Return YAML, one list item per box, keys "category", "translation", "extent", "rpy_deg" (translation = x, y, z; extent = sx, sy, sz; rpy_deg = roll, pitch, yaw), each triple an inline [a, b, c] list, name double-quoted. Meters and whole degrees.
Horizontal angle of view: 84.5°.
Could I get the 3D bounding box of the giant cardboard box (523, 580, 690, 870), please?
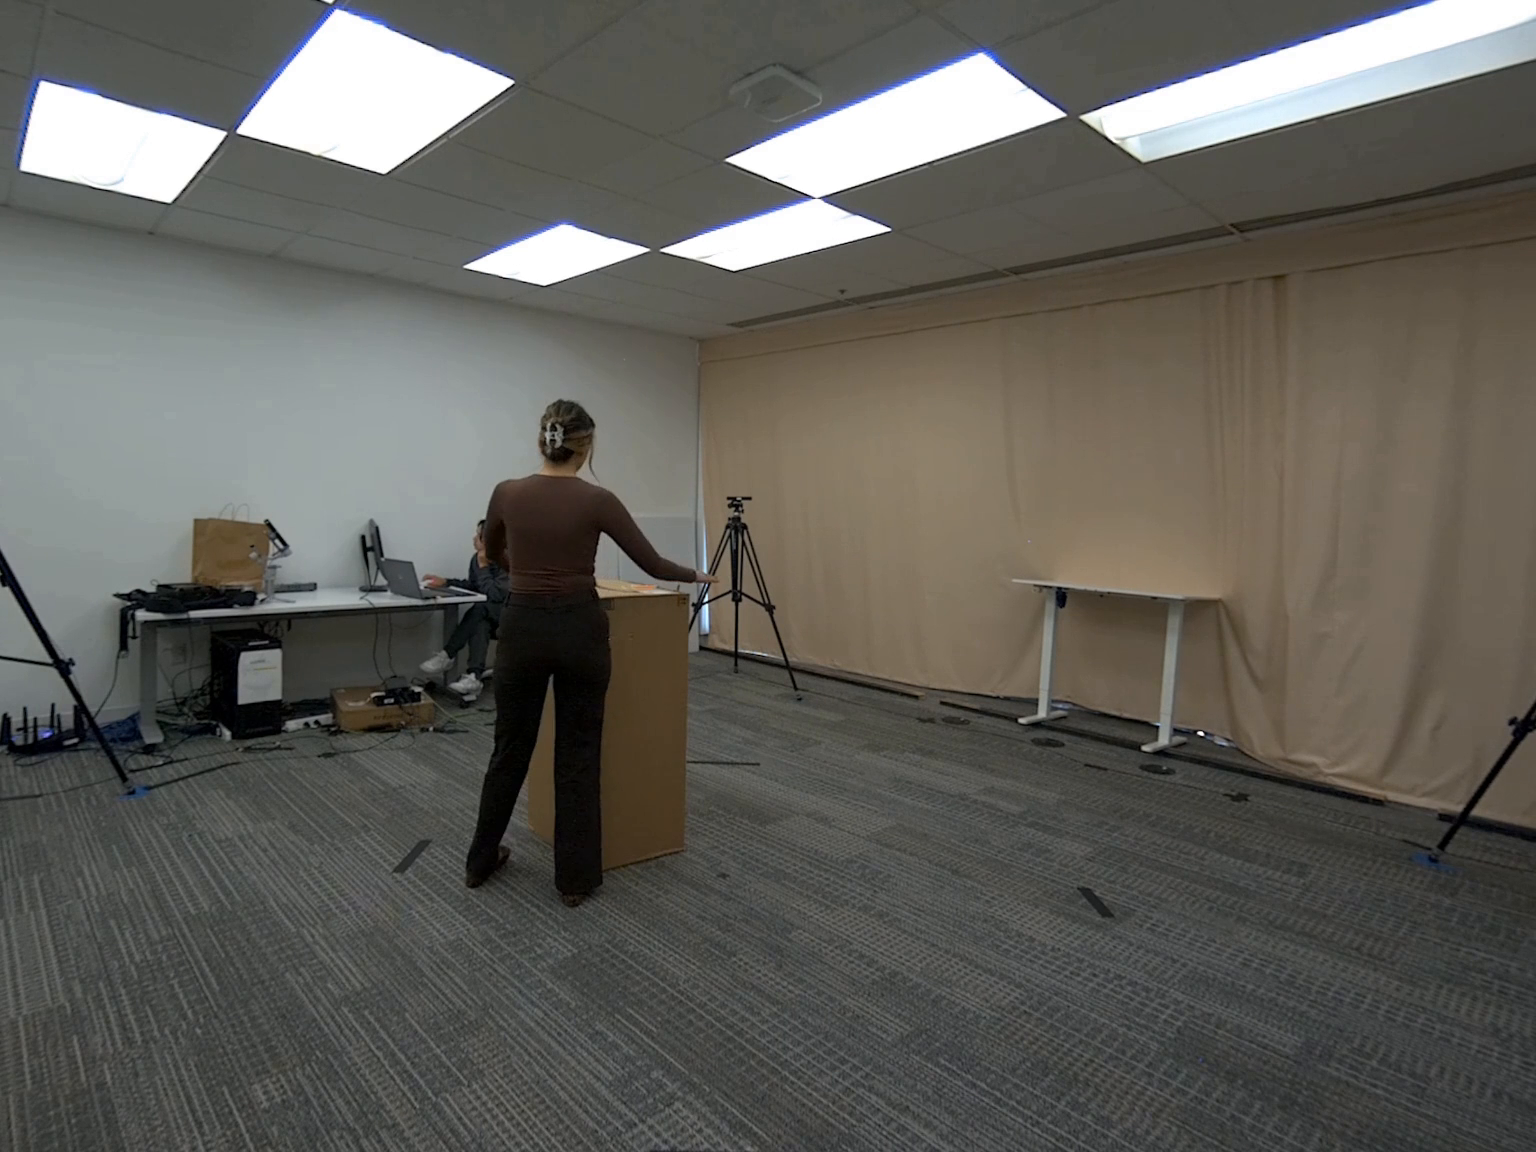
- category: "giant cardboard box"
  translation: [-0.658, 0.555, 3.408]
  extent: [0.437, 1.025, 0.598]
  rpy_deg: [0, 4, -36]
